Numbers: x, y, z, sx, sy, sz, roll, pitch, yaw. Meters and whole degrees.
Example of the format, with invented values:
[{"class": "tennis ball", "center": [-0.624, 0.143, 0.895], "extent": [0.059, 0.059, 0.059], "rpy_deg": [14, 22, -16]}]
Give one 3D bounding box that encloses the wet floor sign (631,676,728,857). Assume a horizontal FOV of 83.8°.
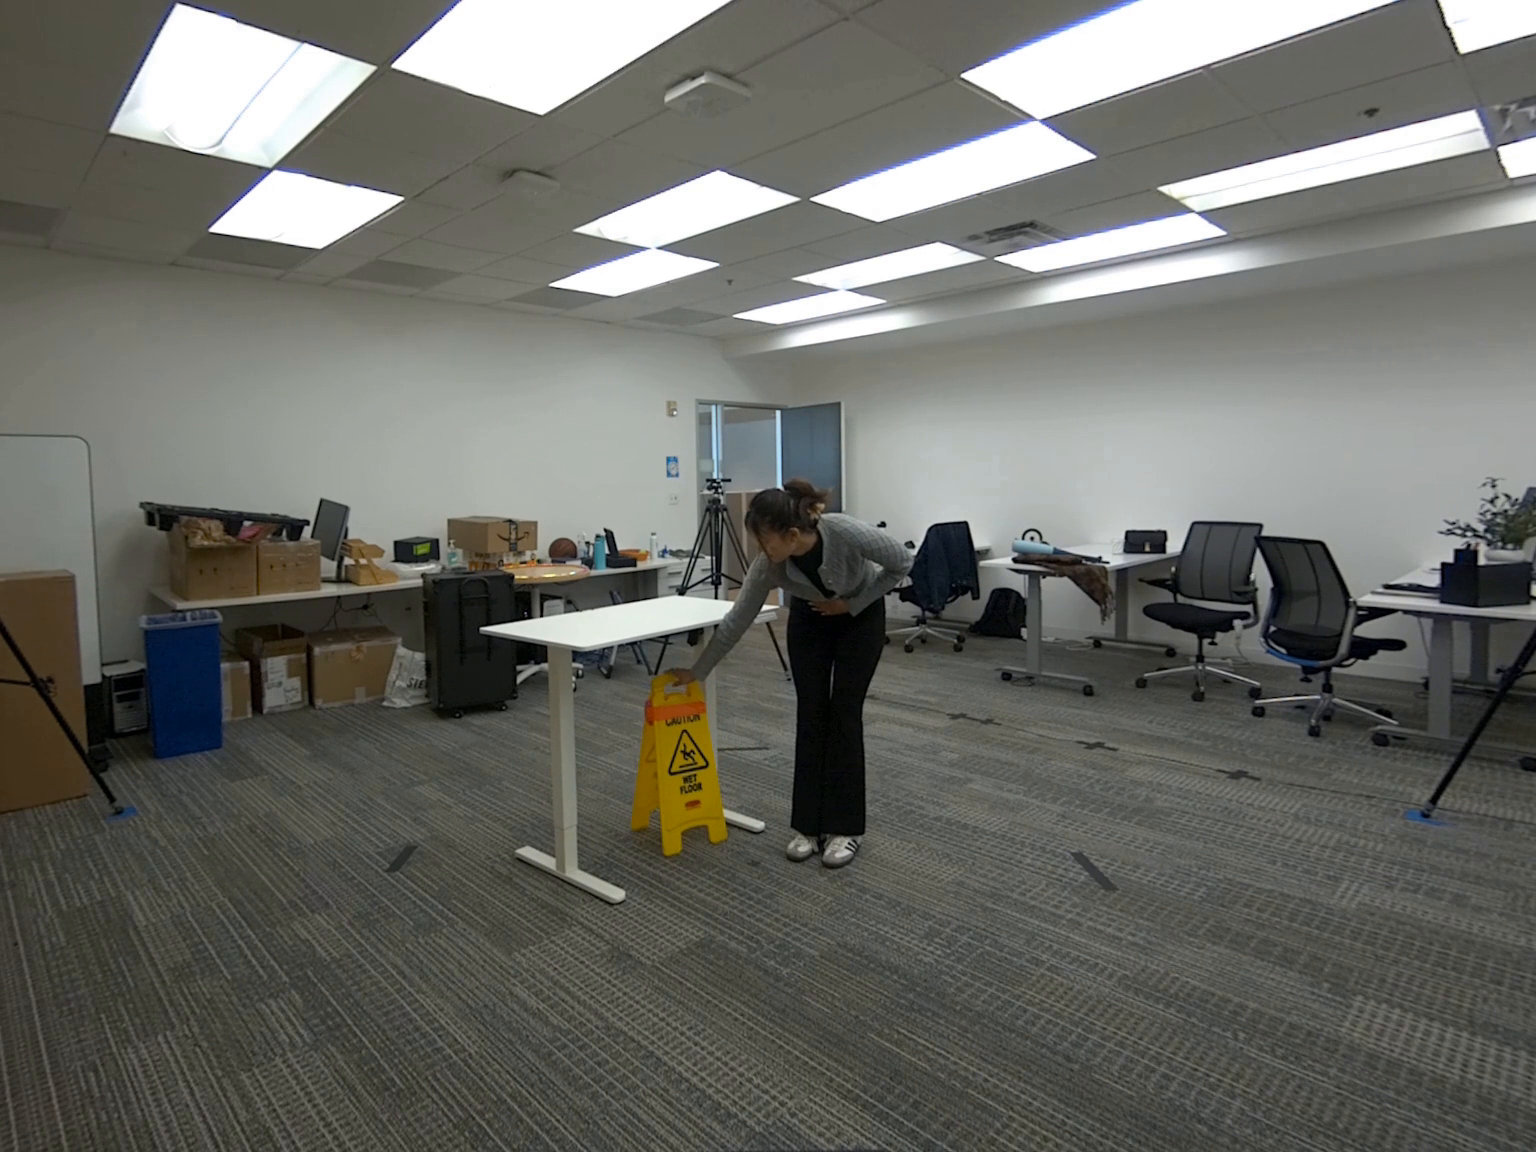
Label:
[{"class": "wet floor sign", "center": [-0.362, 0.699, 3.349], "extent": [0.275, 0.644, 0.298], "rpy_deg": [-3, 3, -33]}]
